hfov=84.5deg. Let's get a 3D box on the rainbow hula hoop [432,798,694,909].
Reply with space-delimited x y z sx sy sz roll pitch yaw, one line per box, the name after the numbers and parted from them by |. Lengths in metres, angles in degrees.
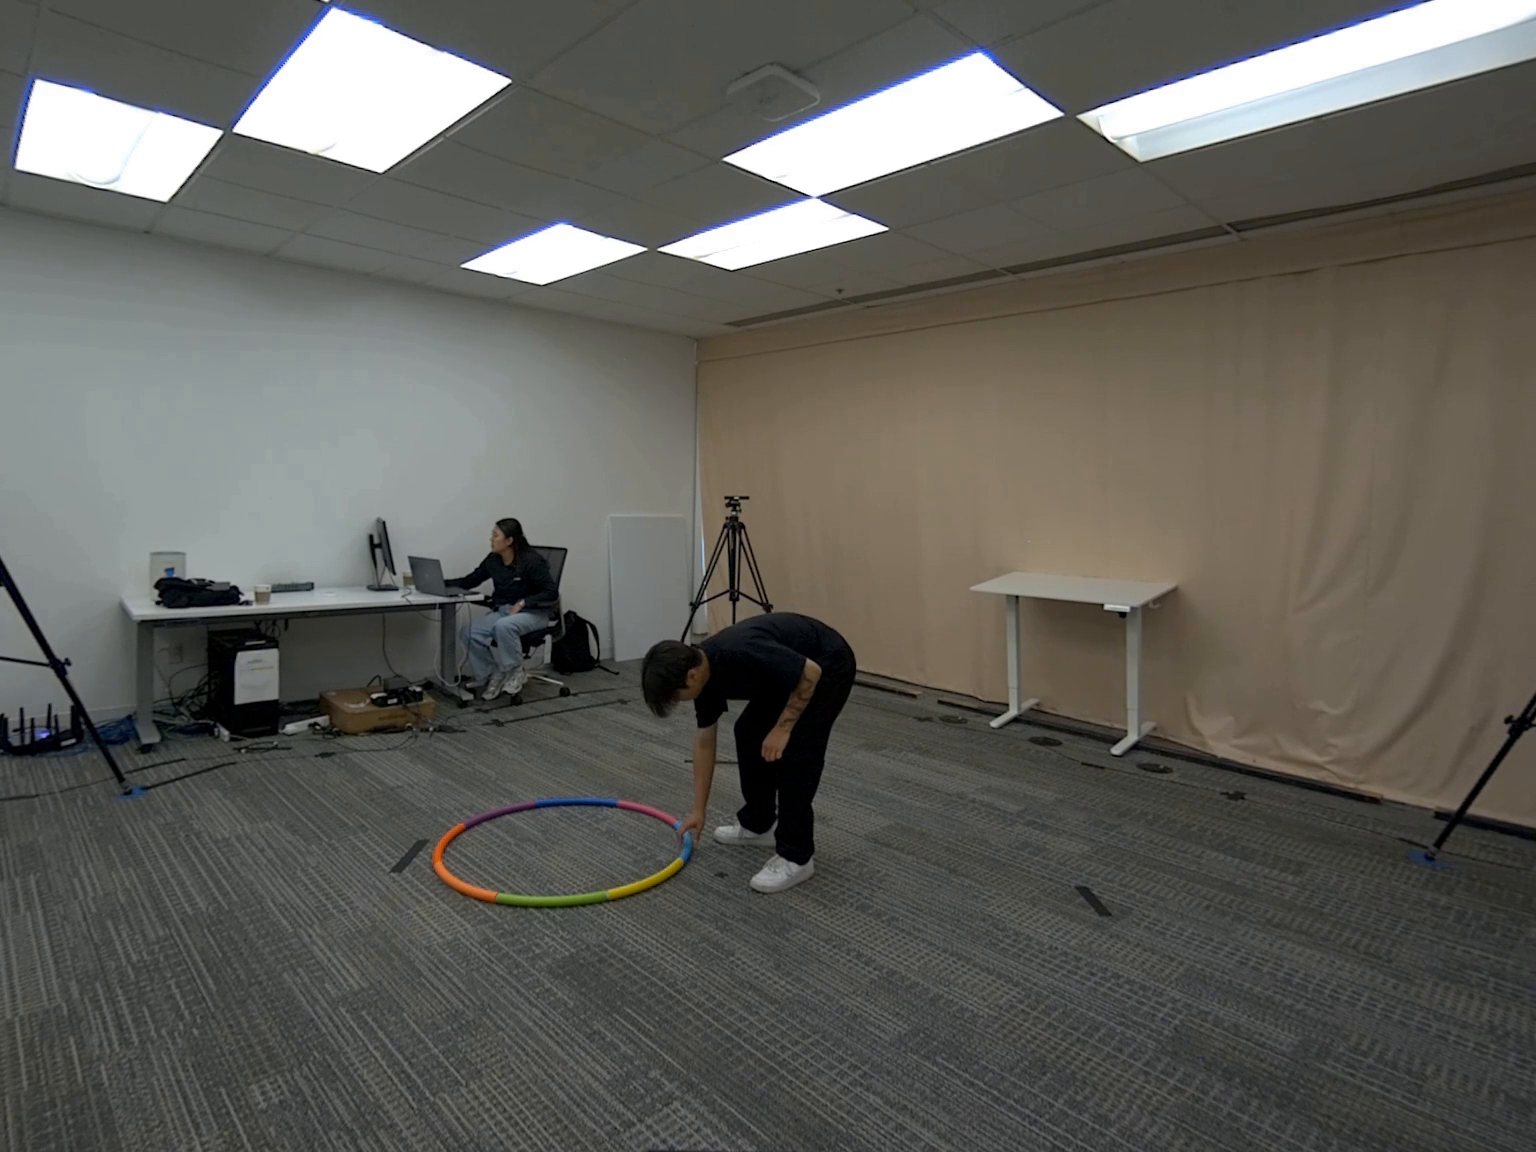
-0.796 1.045 3.304 0.978 0.035 0.982 1 5 -1 | rainbow hula hoop
